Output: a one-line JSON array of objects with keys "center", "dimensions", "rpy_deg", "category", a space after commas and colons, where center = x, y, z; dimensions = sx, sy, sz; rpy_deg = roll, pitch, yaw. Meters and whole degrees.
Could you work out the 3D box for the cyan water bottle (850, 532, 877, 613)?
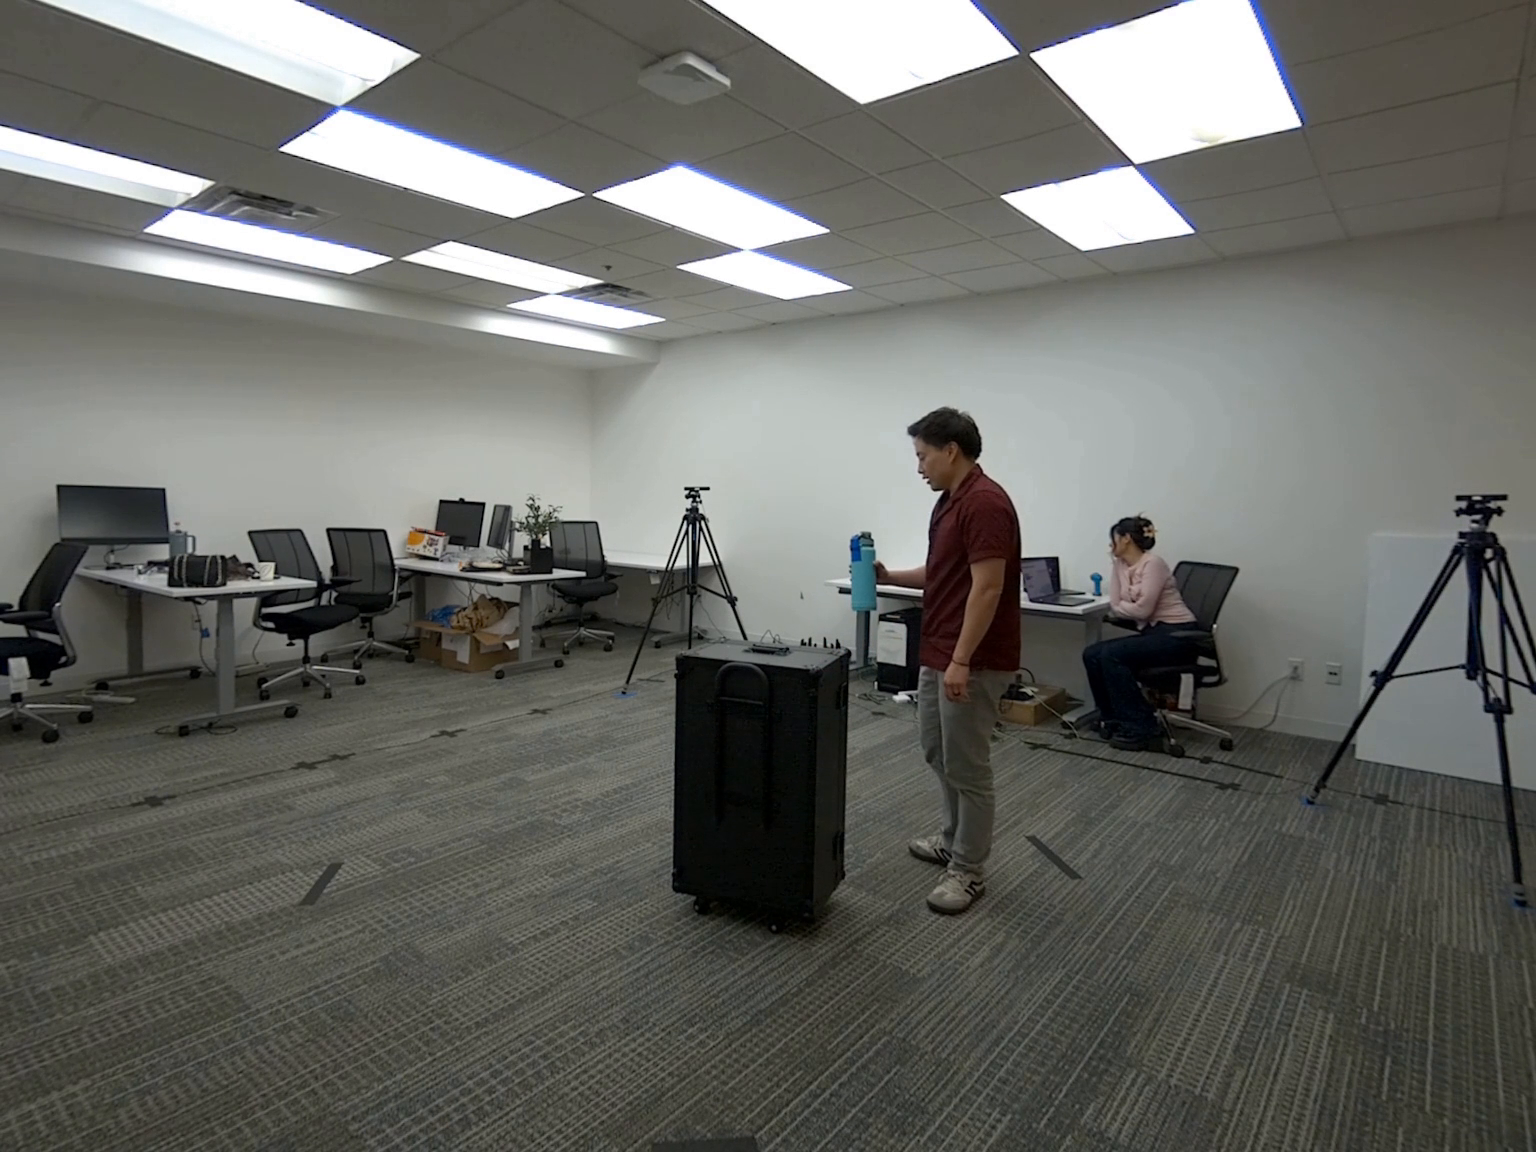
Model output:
[{"center": [0.341, -0.021, 3.058], "dimensions": [0.092, 0.284, 0.092], "rpy_deg": [-2, -3, -2], "category": "cyan water bottle"}]
